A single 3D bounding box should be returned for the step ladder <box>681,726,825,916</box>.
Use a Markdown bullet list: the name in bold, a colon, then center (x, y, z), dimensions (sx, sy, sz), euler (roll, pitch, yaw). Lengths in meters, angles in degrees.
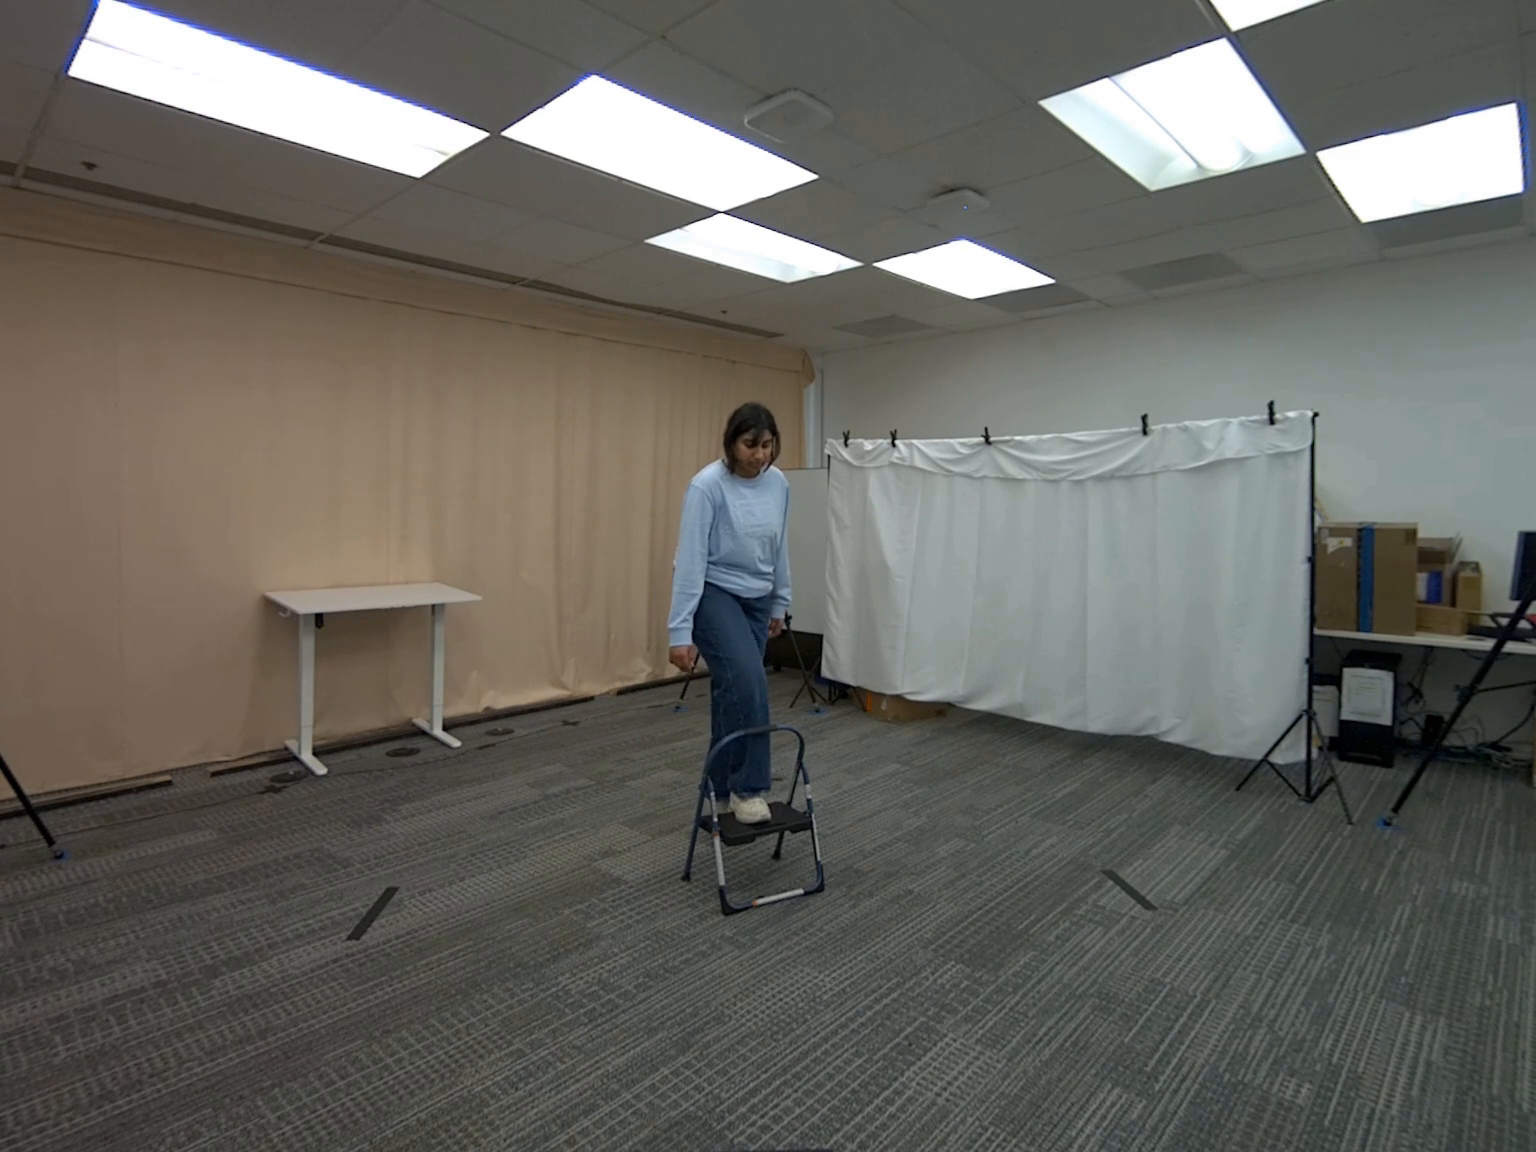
- **step ladder**: center (-0.053, 0.834, 3.081), dimensions (0.419, 0.605, 0.359), euler (-2, 3, -30)
